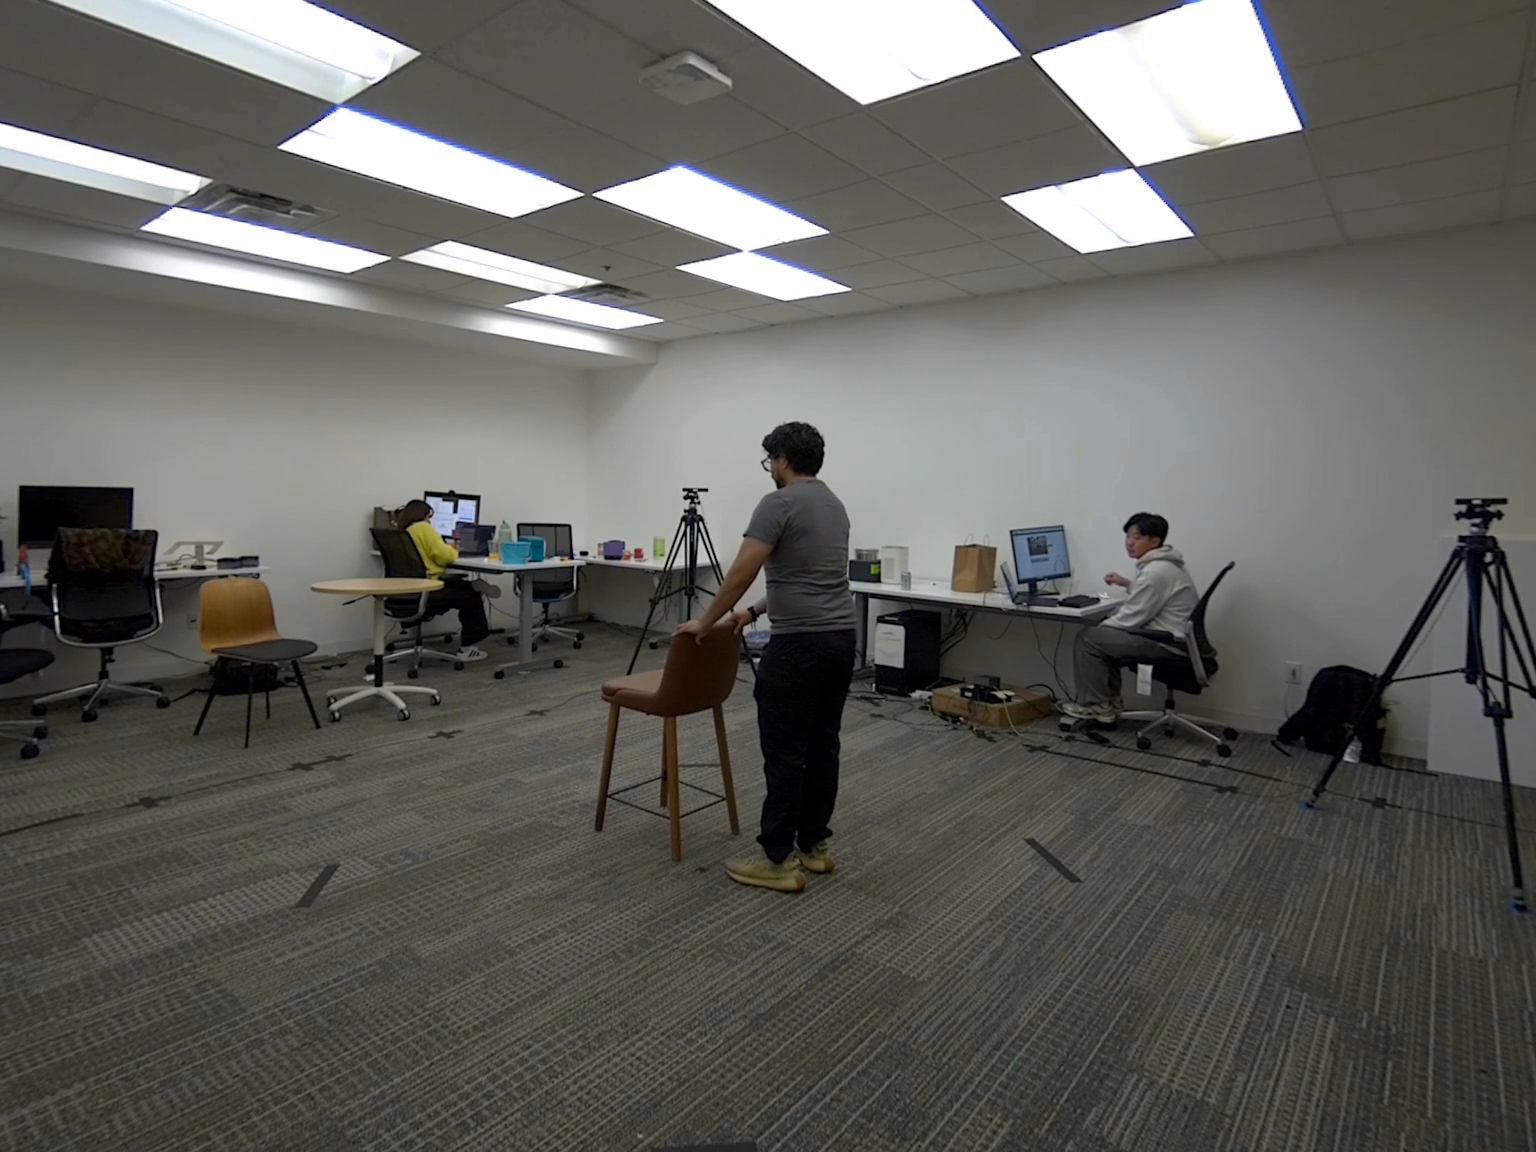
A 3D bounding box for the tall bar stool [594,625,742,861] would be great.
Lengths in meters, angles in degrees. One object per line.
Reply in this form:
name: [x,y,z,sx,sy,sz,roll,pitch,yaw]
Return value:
tall bar stool: [-0.398,0.598,3.426,0.484,0.886,0.443,6,5,39]
